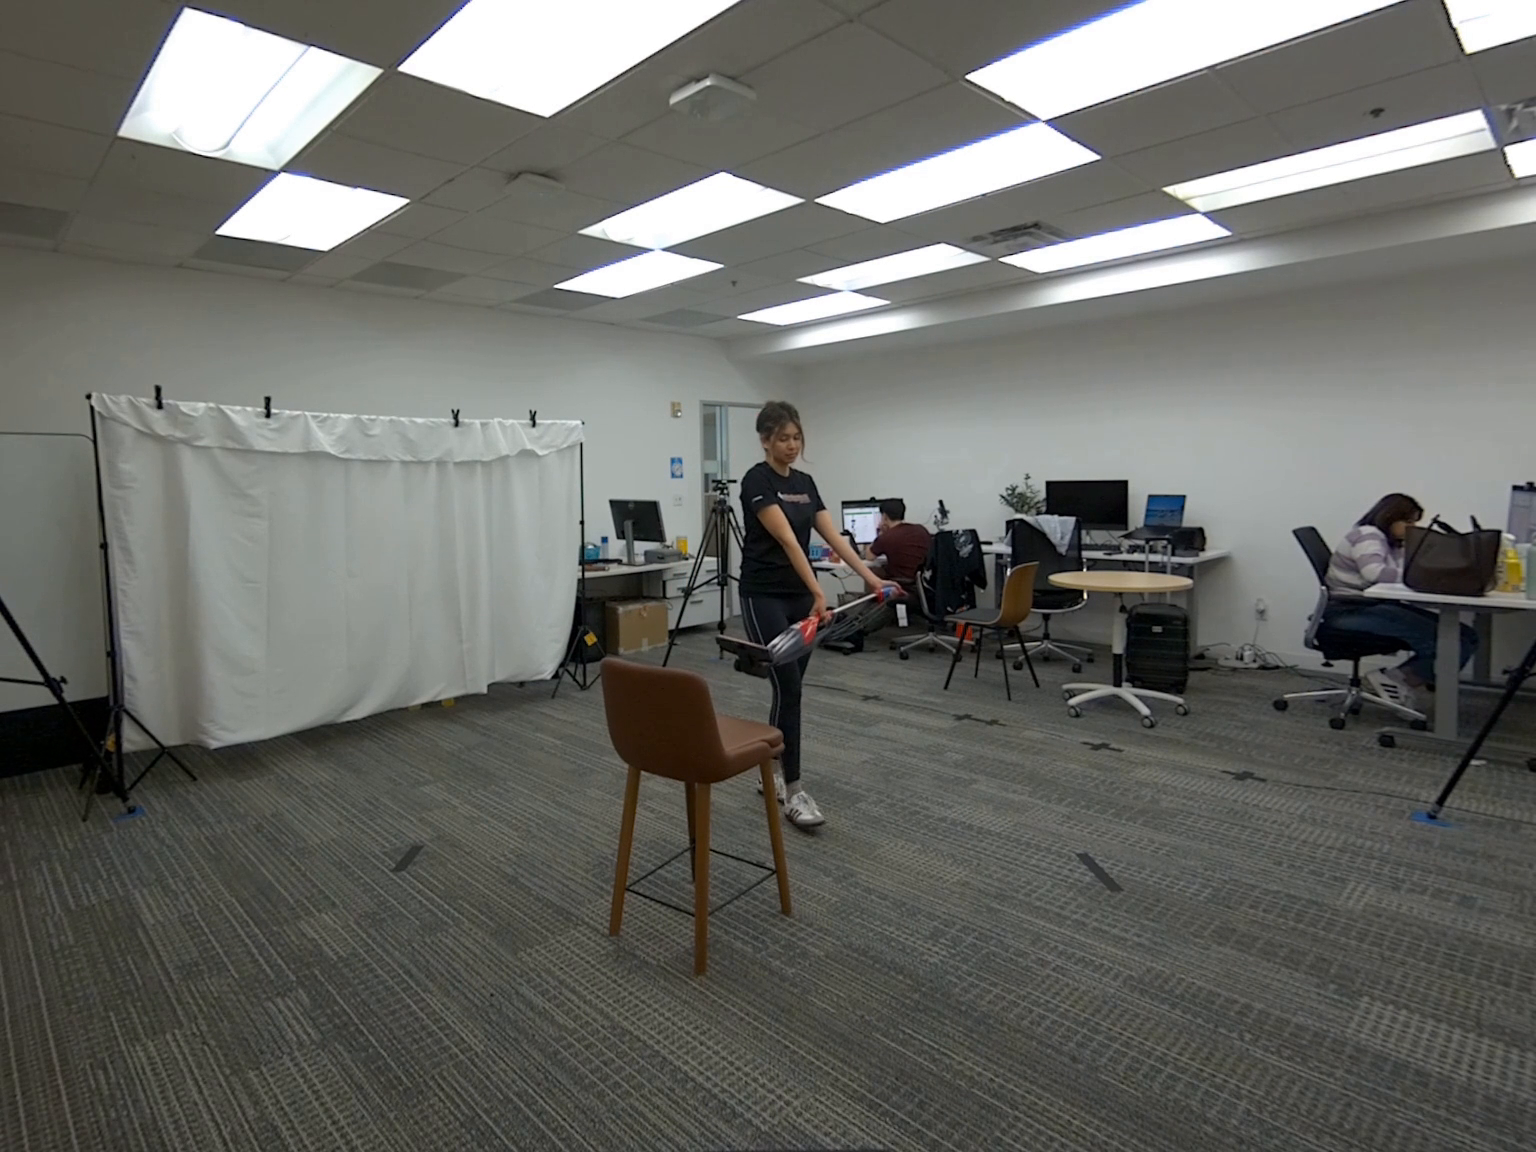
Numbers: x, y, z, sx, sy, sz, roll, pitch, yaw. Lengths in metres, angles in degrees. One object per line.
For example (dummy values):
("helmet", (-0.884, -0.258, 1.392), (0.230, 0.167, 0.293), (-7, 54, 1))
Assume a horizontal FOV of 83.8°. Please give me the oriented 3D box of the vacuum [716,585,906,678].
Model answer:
("vacuum", (0.257, 0.202, 3.369), (0.261, 0.142, 1.027), (12, 20, 41))
